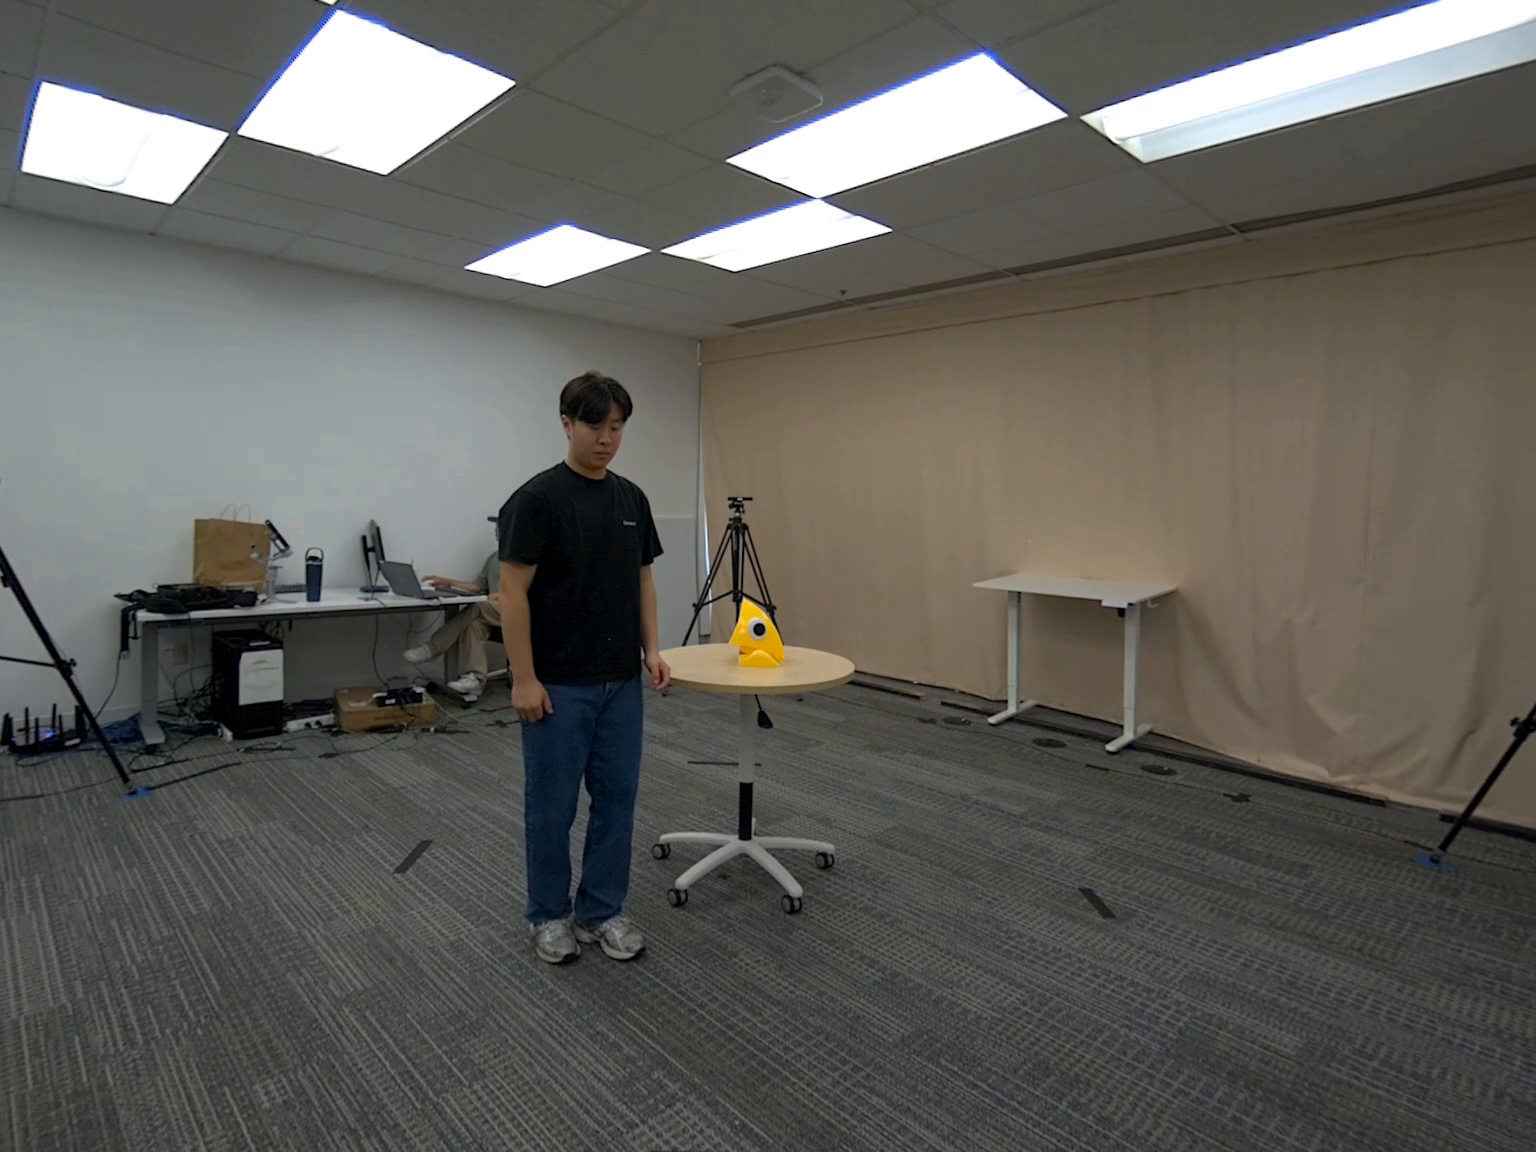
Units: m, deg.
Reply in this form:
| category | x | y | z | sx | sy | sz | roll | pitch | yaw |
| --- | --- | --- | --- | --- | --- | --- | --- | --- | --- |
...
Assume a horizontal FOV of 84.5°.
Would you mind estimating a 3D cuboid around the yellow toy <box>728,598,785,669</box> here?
| category | x | y | z | sx | sy | sz | roll | pitch | yaw |
| --- | --- | --- | --- | --- | --- | --- | --- | --- | --- |
| yellow toy | -0.039 | 0.201 | 3.075 | 0.195 | 0.230 | 0.203 | 3 | 5 | 11 |
